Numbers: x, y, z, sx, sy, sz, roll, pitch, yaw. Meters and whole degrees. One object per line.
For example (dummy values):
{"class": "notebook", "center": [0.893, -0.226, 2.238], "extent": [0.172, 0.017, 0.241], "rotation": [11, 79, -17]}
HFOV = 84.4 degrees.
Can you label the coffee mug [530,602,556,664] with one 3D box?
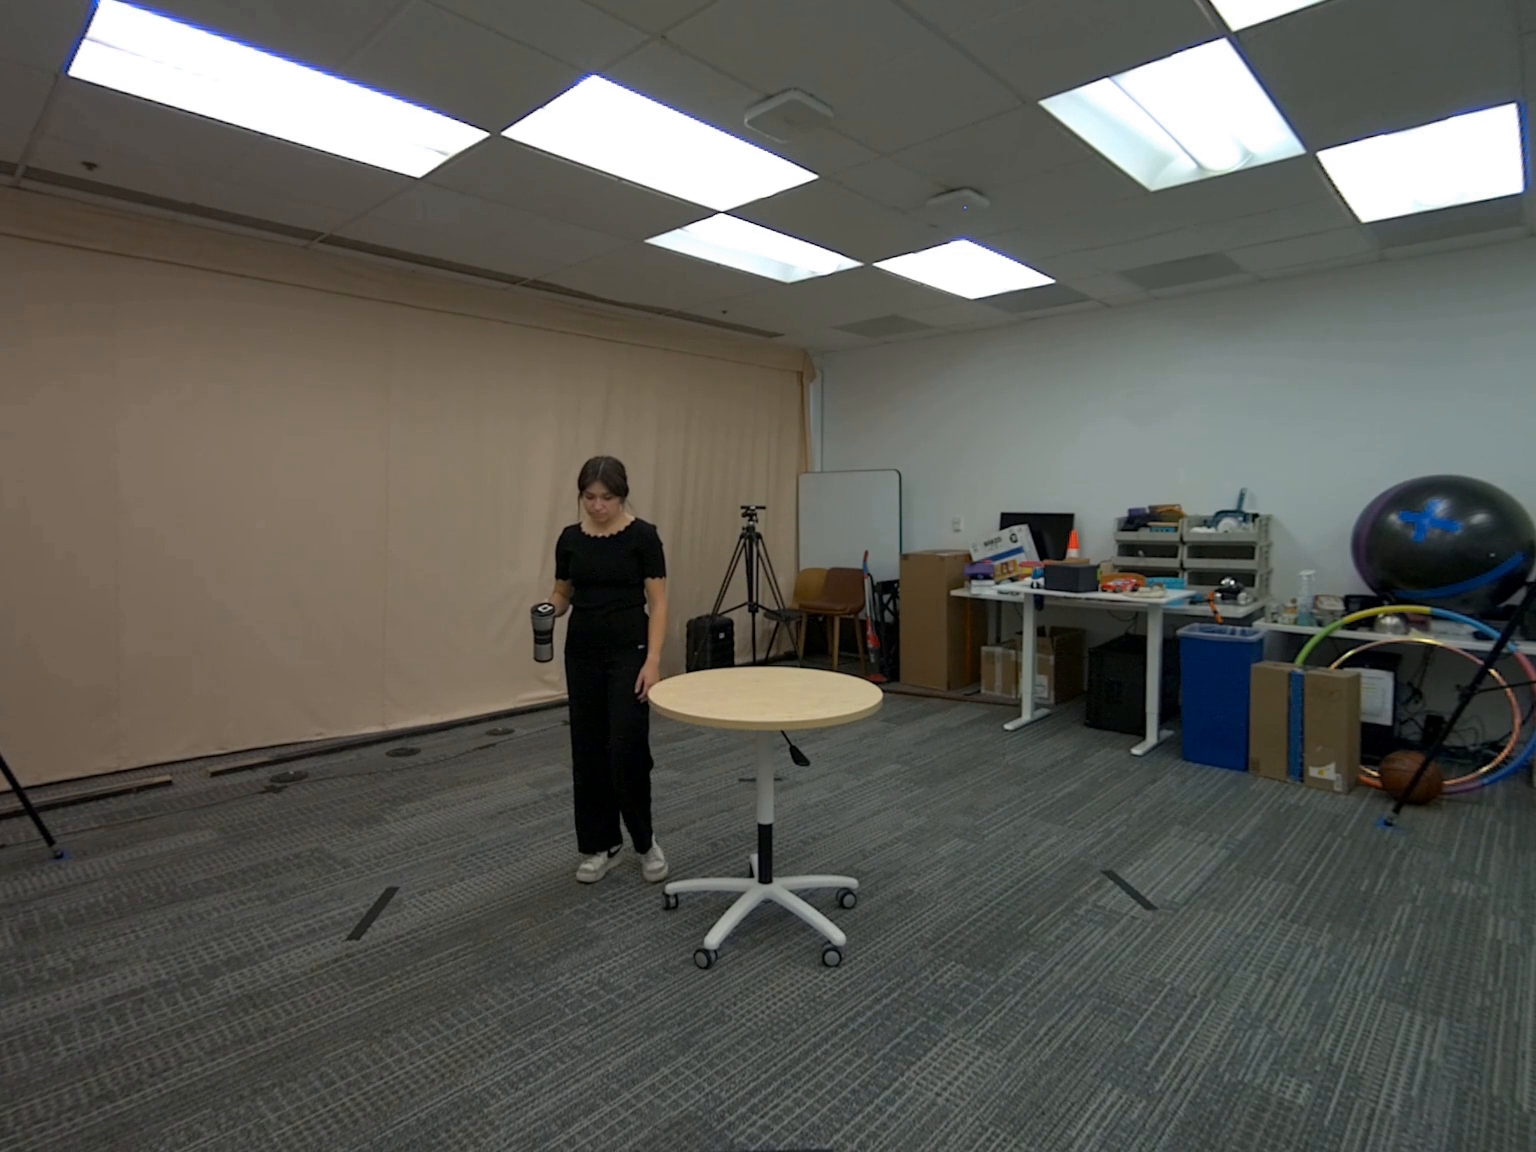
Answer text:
{"class": "coffee mug", "center": [-0.797, 0.202, 3.016], "extent": [0.091, 0.200, 0.119], "rotation": [20, 28, 39]}
